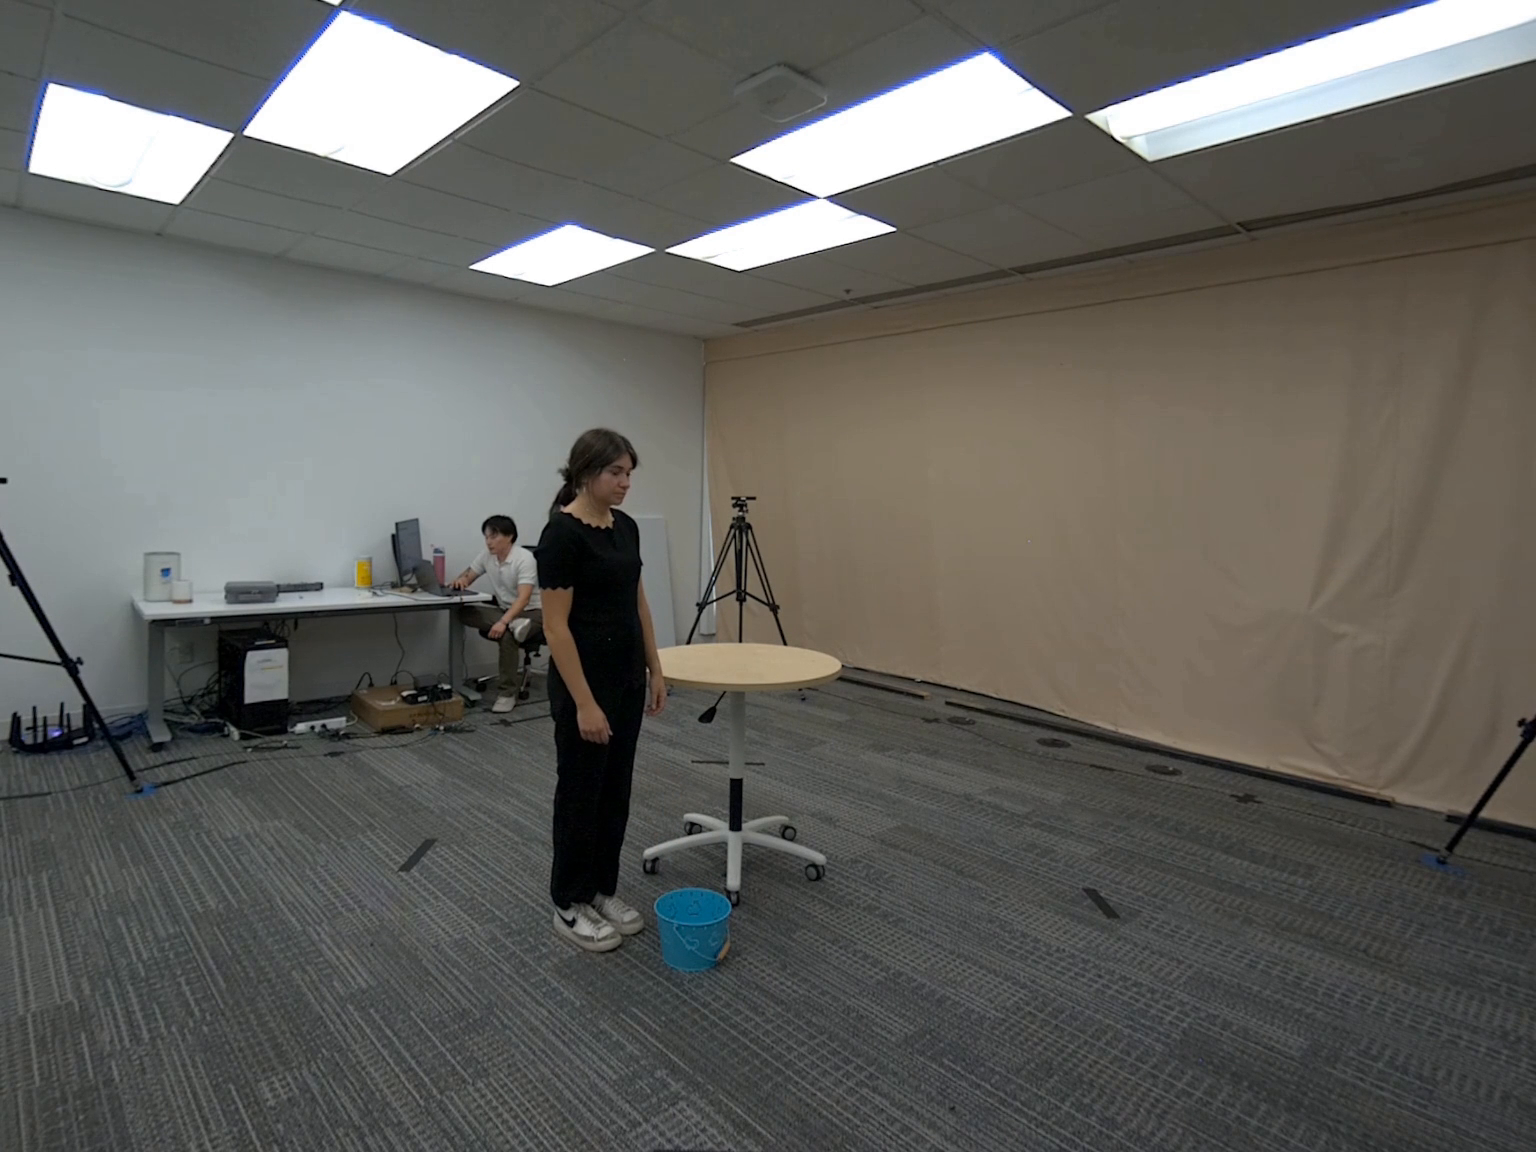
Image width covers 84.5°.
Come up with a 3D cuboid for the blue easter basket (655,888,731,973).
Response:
[{"bbox_3d":[-0.247,1.077,2.549,0.243,0.155,0.244,2,4,-1],"label":"blue easter basket"}]
